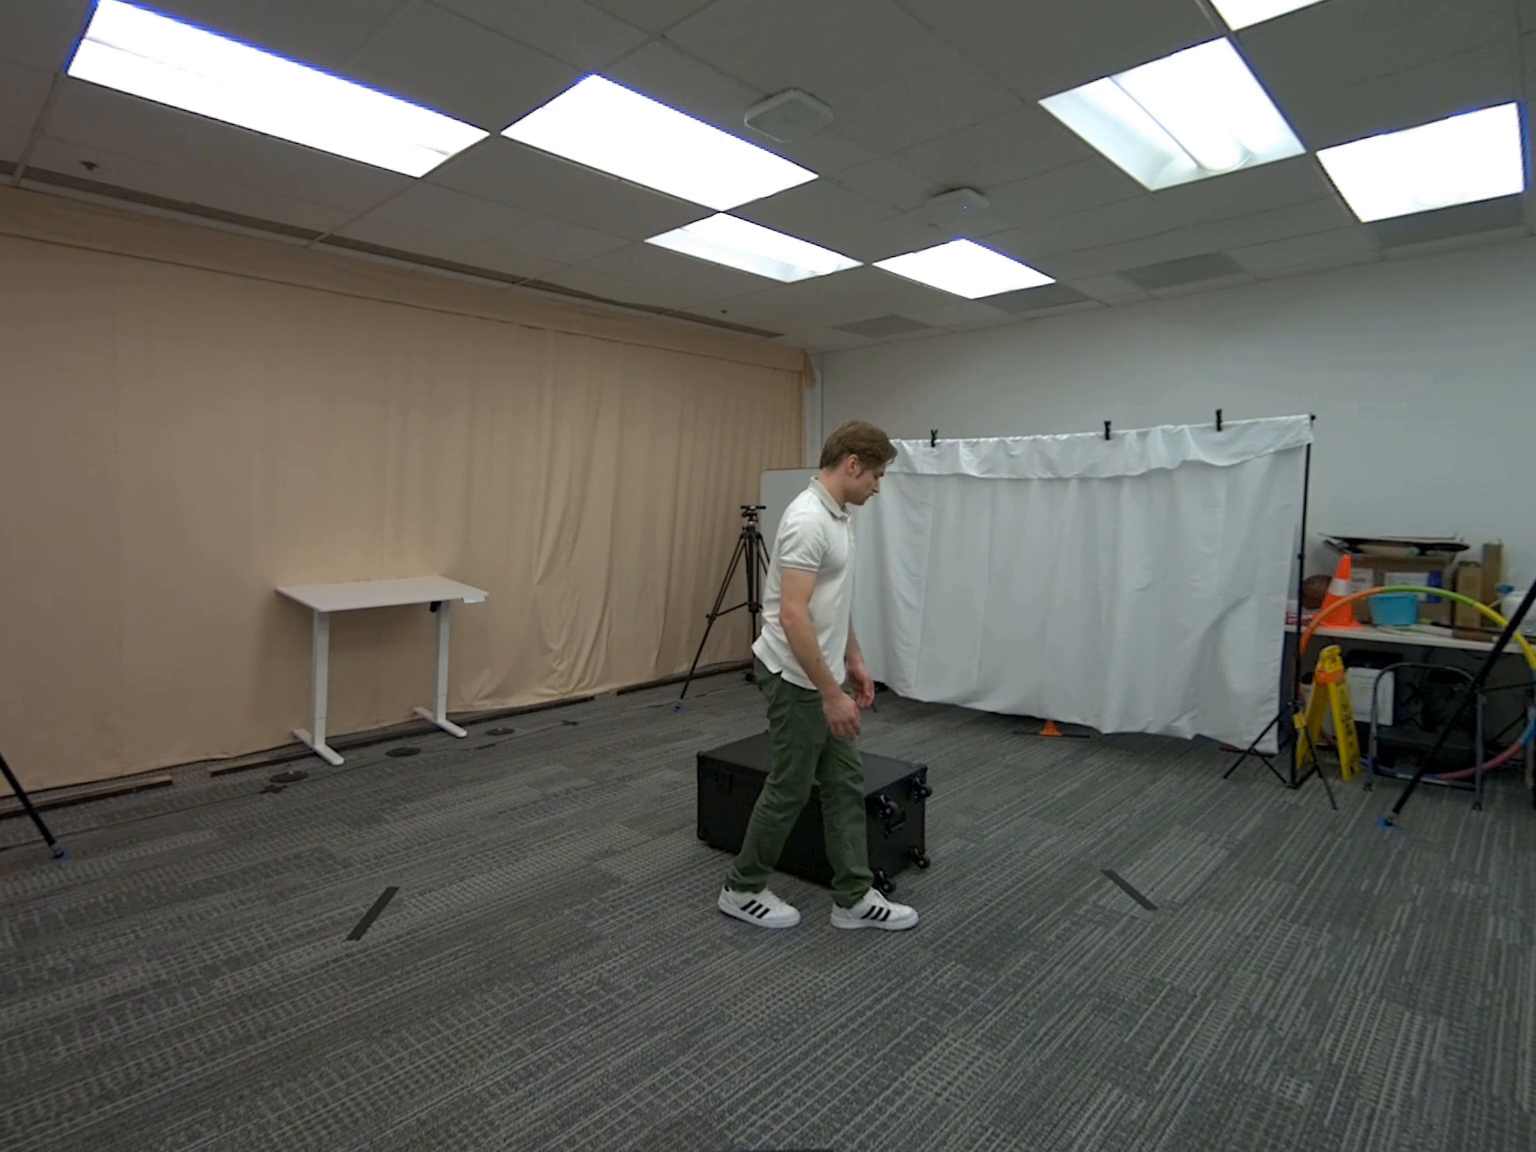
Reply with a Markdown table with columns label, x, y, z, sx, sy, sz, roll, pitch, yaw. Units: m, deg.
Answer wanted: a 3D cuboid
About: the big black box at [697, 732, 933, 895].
| label | x | y | z | sx | sy | sz | roll | pitch | yaw |
| --- | --- | --- | --- | --- | --- | --- | --- | --- | --- |
| big black box | 0.192 | 0.917 | 3.346 | 0.897 | 0.384 | 0.507 | 4 | 4 | 39 |
